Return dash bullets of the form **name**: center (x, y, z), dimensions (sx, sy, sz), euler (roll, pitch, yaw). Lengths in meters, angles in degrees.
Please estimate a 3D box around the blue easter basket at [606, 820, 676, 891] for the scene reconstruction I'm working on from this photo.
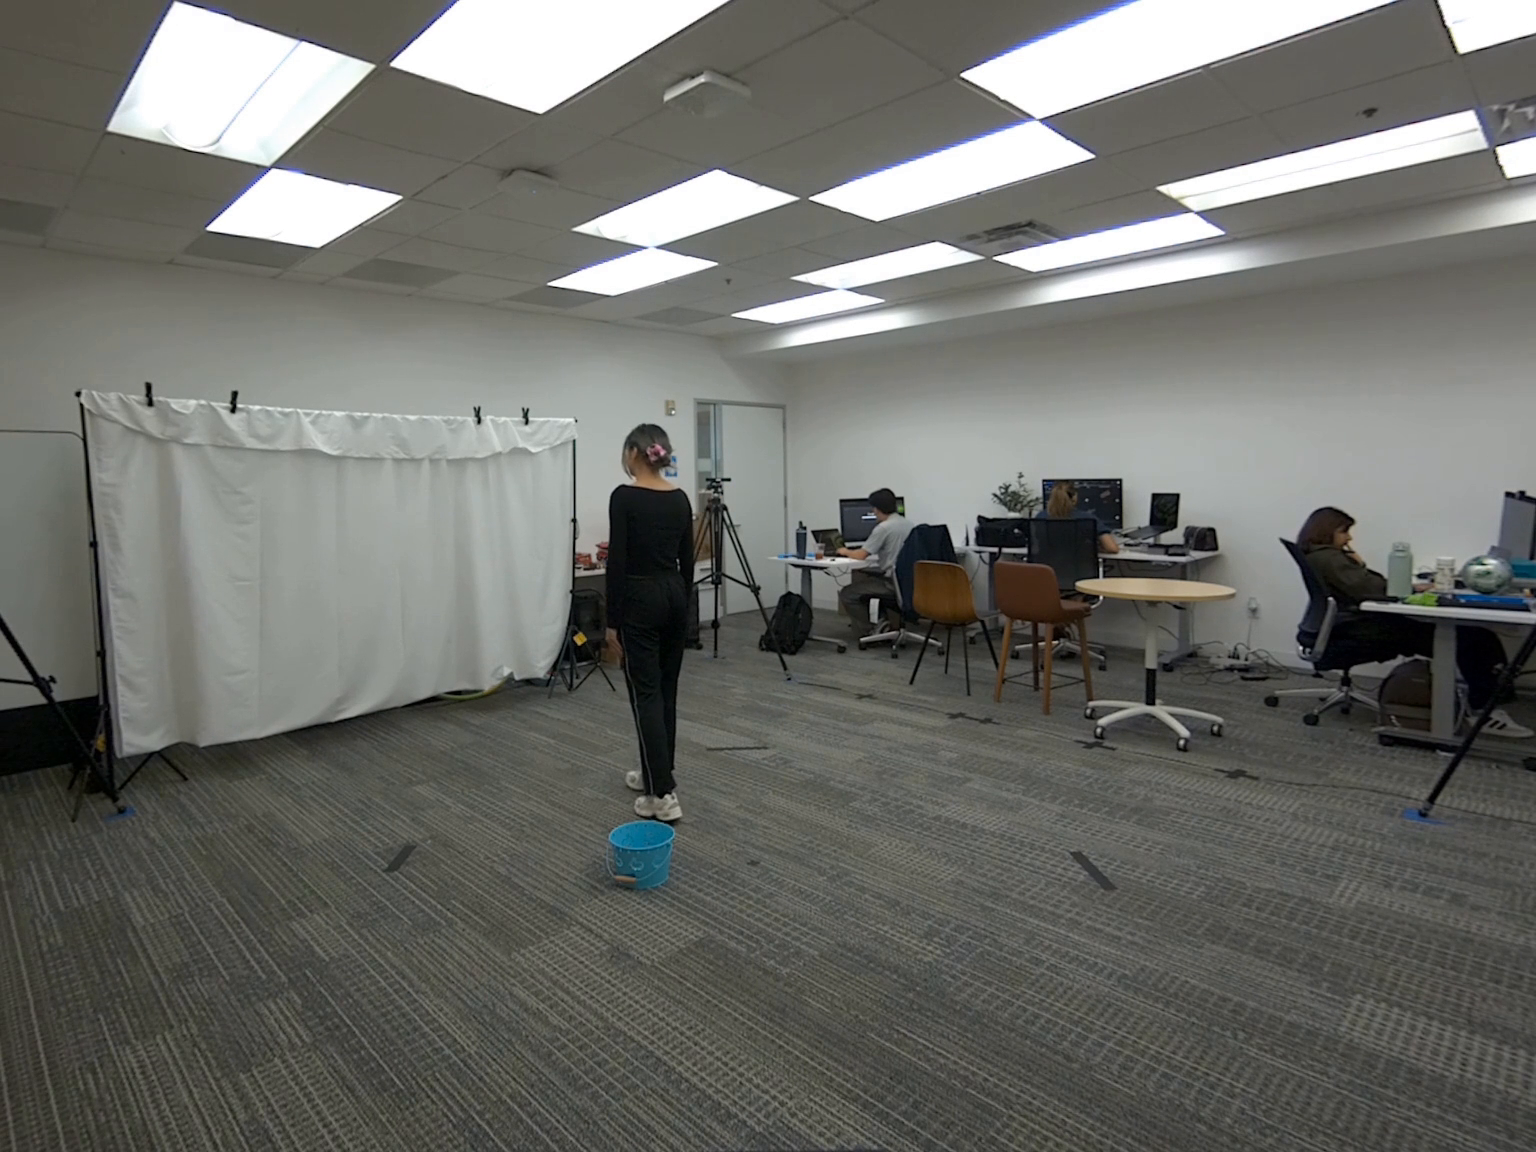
- **blue easter basket**: center (-0.437, 0.983, 3.003), dimensions (0.243, 0.155, 0.245), euler (-2, 6, -2)
